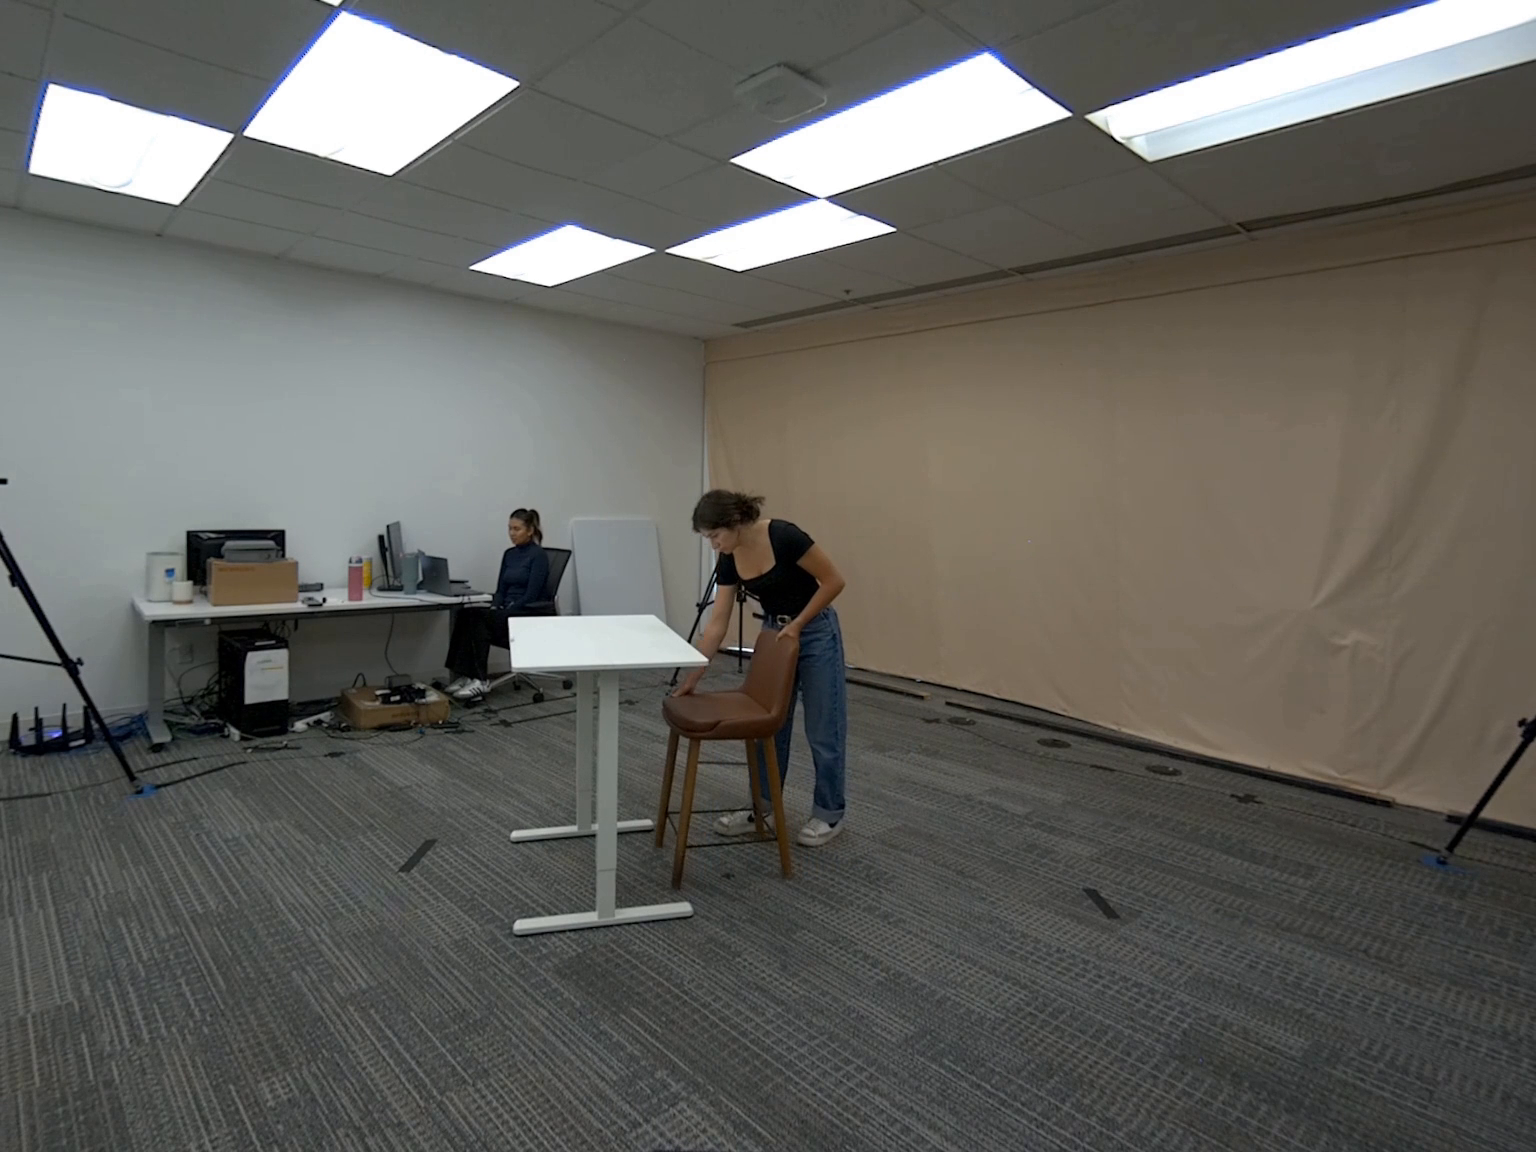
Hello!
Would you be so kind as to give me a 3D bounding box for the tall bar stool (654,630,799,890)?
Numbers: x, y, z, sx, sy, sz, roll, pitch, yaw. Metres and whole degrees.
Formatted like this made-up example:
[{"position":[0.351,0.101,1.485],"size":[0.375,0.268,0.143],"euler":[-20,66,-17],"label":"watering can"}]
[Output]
[{"position":[-0.165,0.663,3.195],"size":[0.462,0.888,0.463],"euler":[3,3,-15],"label":"tall bar stool"}]
